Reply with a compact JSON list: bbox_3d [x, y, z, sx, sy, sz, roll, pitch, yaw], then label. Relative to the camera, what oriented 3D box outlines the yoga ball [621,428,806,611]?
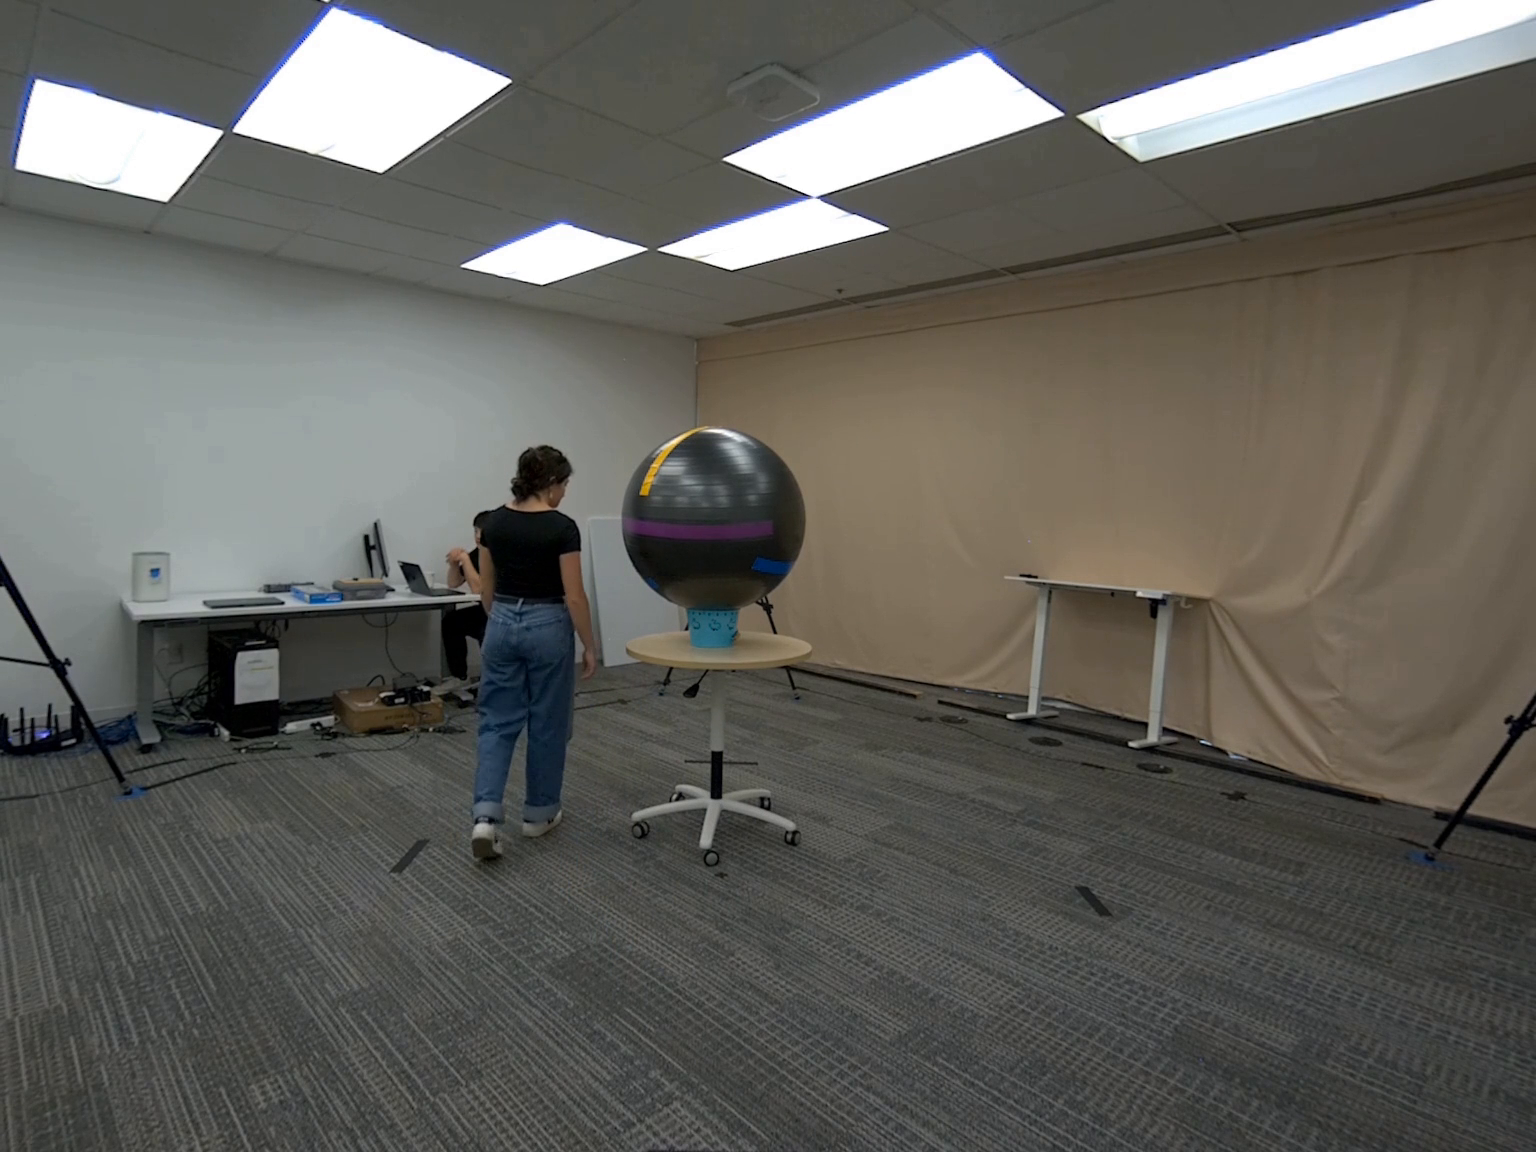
[{"bbox_3d":[-0.220,-0.231,3.494,0.757,0.756,0.761,1,4,-1],"label":"yoga ball"}]
